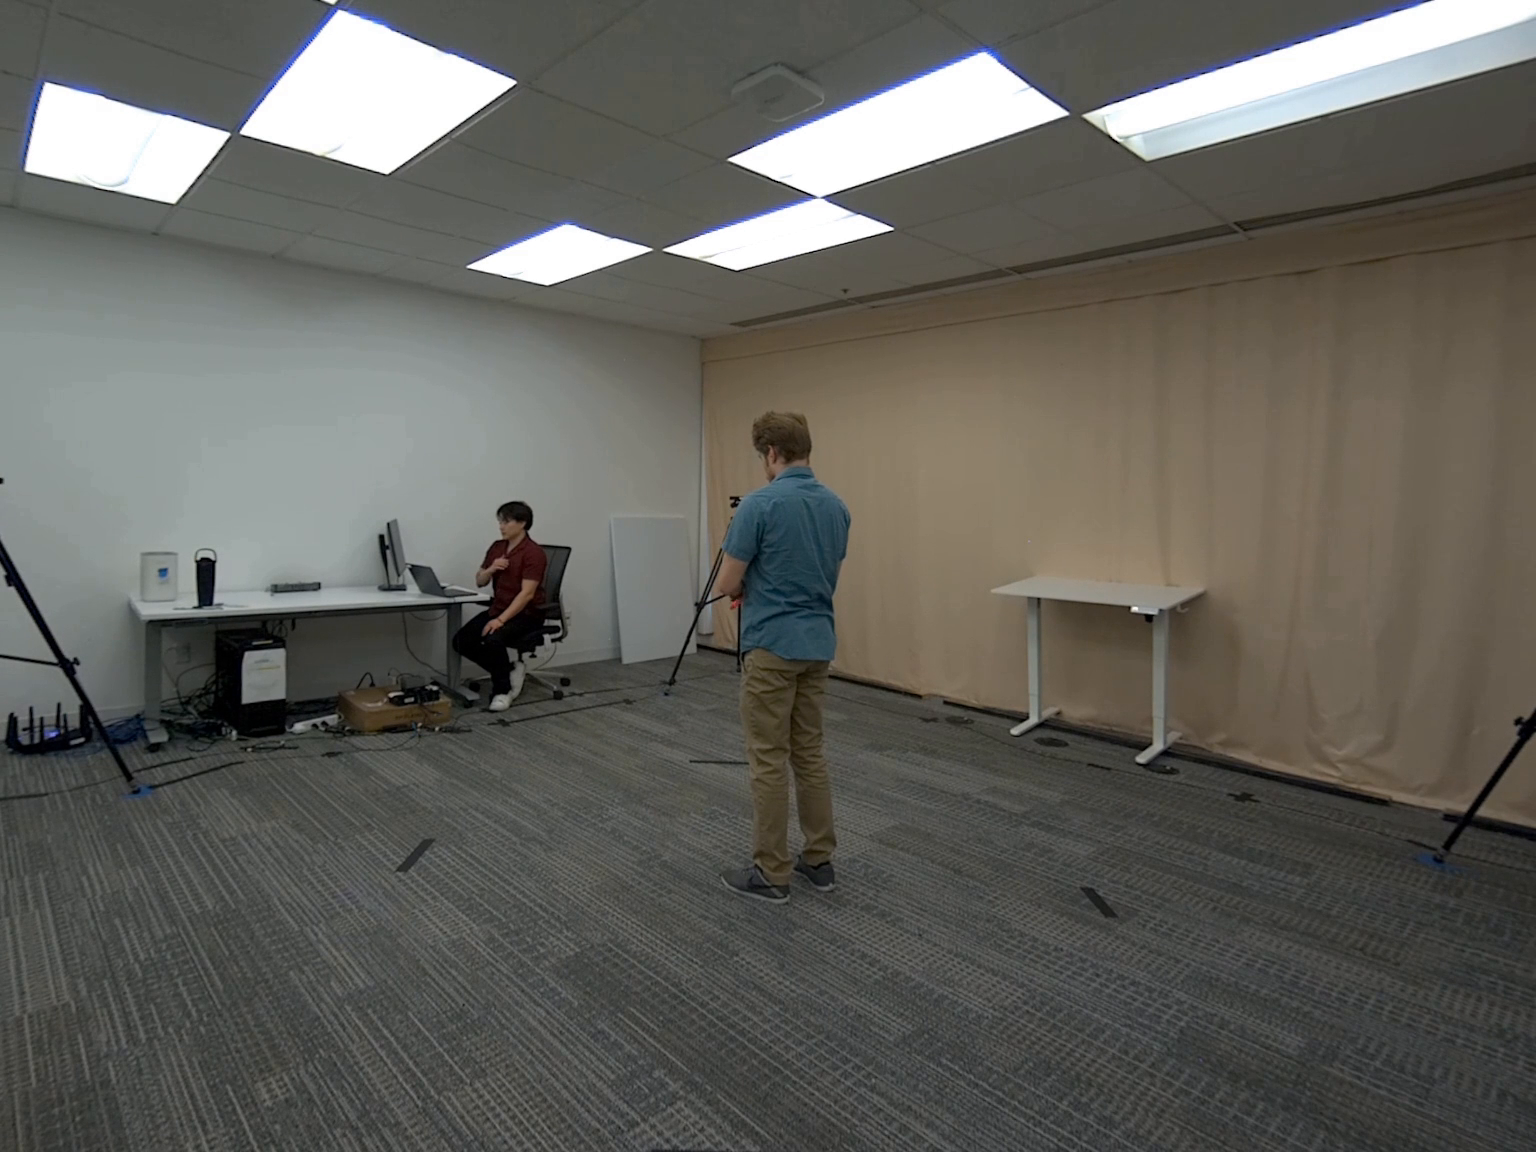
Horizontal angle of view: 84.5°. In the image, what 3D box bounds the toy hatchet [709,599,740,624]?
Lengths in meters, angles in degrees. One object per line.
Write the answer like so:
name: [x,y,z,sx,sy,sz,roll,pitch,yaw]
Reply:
toy hatchet: [-0.144,0.107,3.353,0.030,0.131,0.268,46,14,3]
